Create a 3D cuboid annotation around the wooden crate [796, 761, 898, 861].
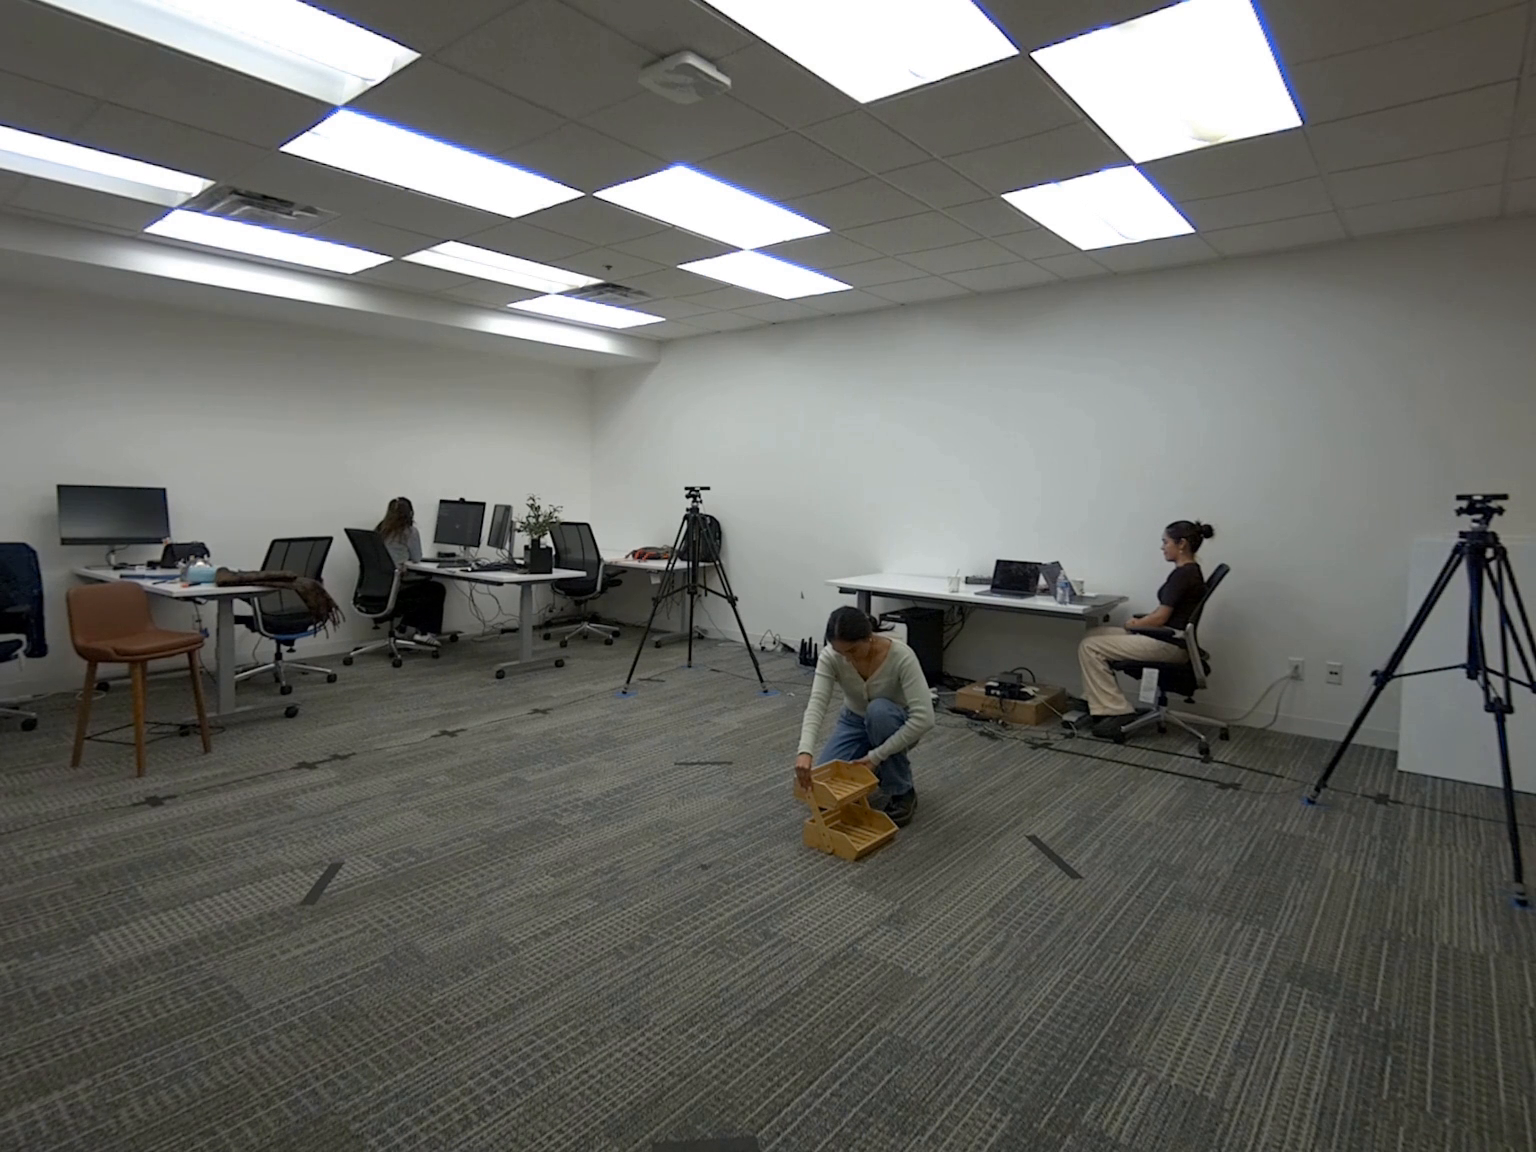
[{"bbox_3d":[0.306,0.914,3.379,0.312,0.272,0.315,3,5,40],"label":"wooden crate"}]
